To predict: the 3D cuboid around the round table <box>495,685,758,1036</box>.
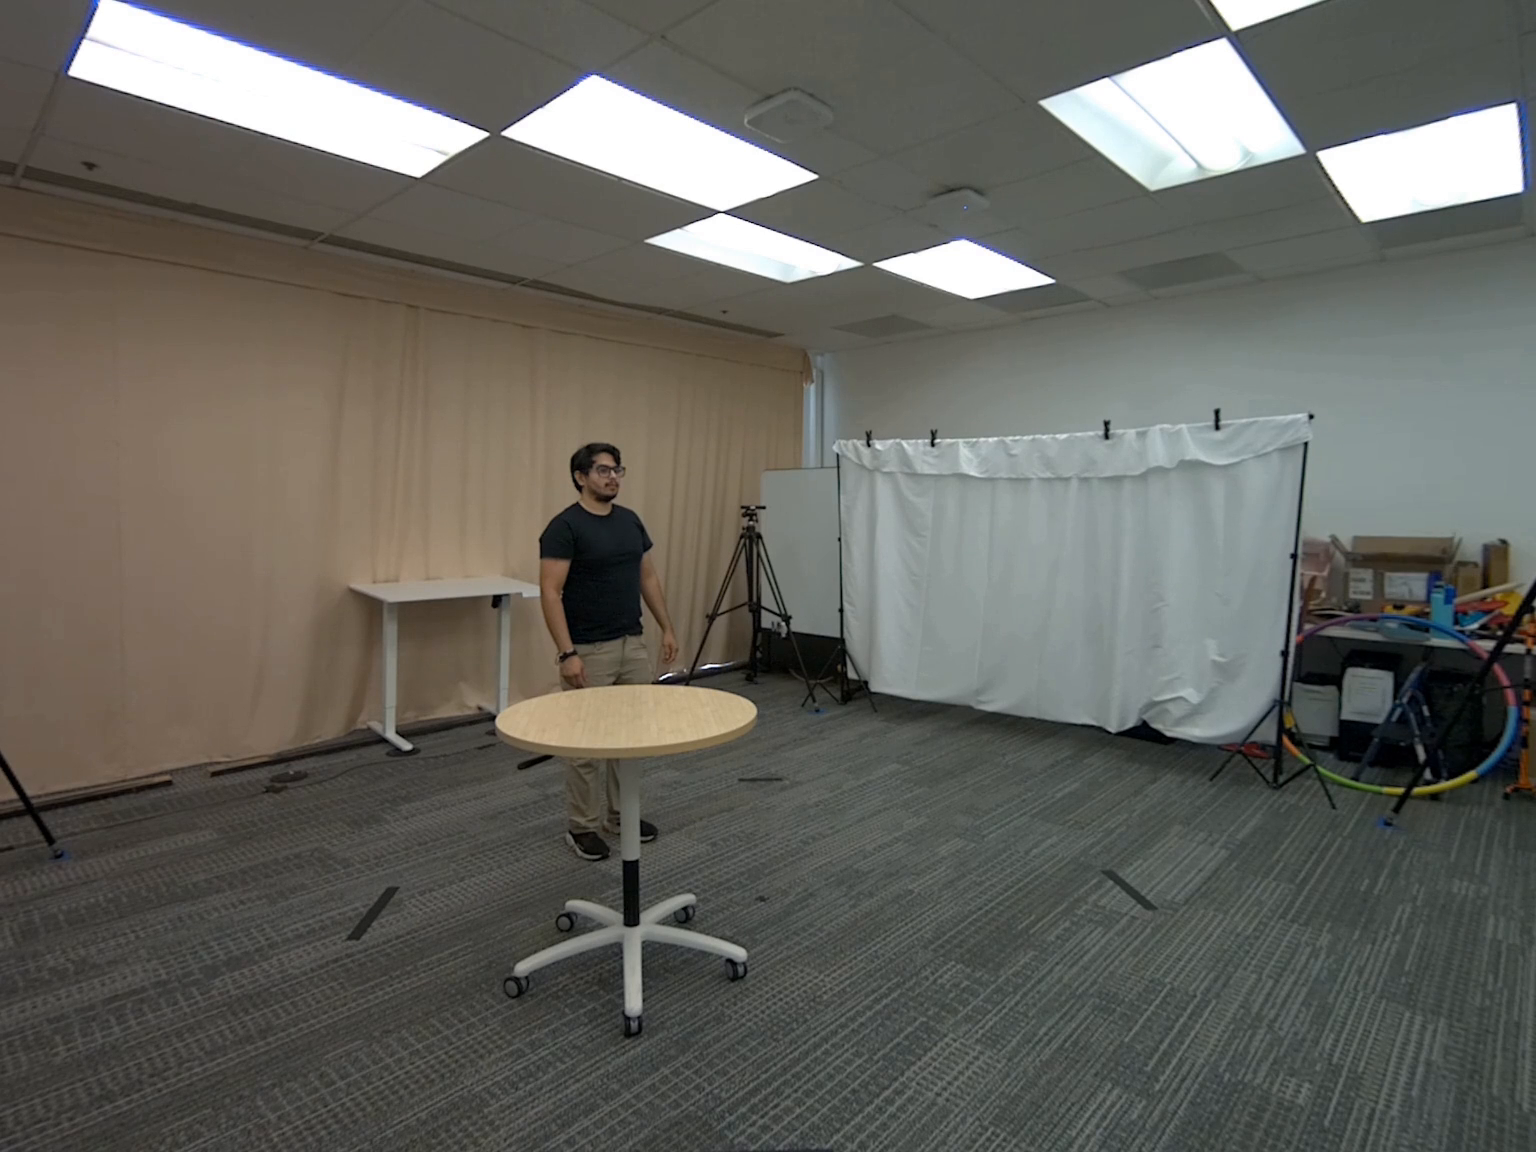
[{"bbox_3d":[-0.397,0.793,2.512,0.784,0.785,0.788,-1,4,-2],"label":"round table"}]
